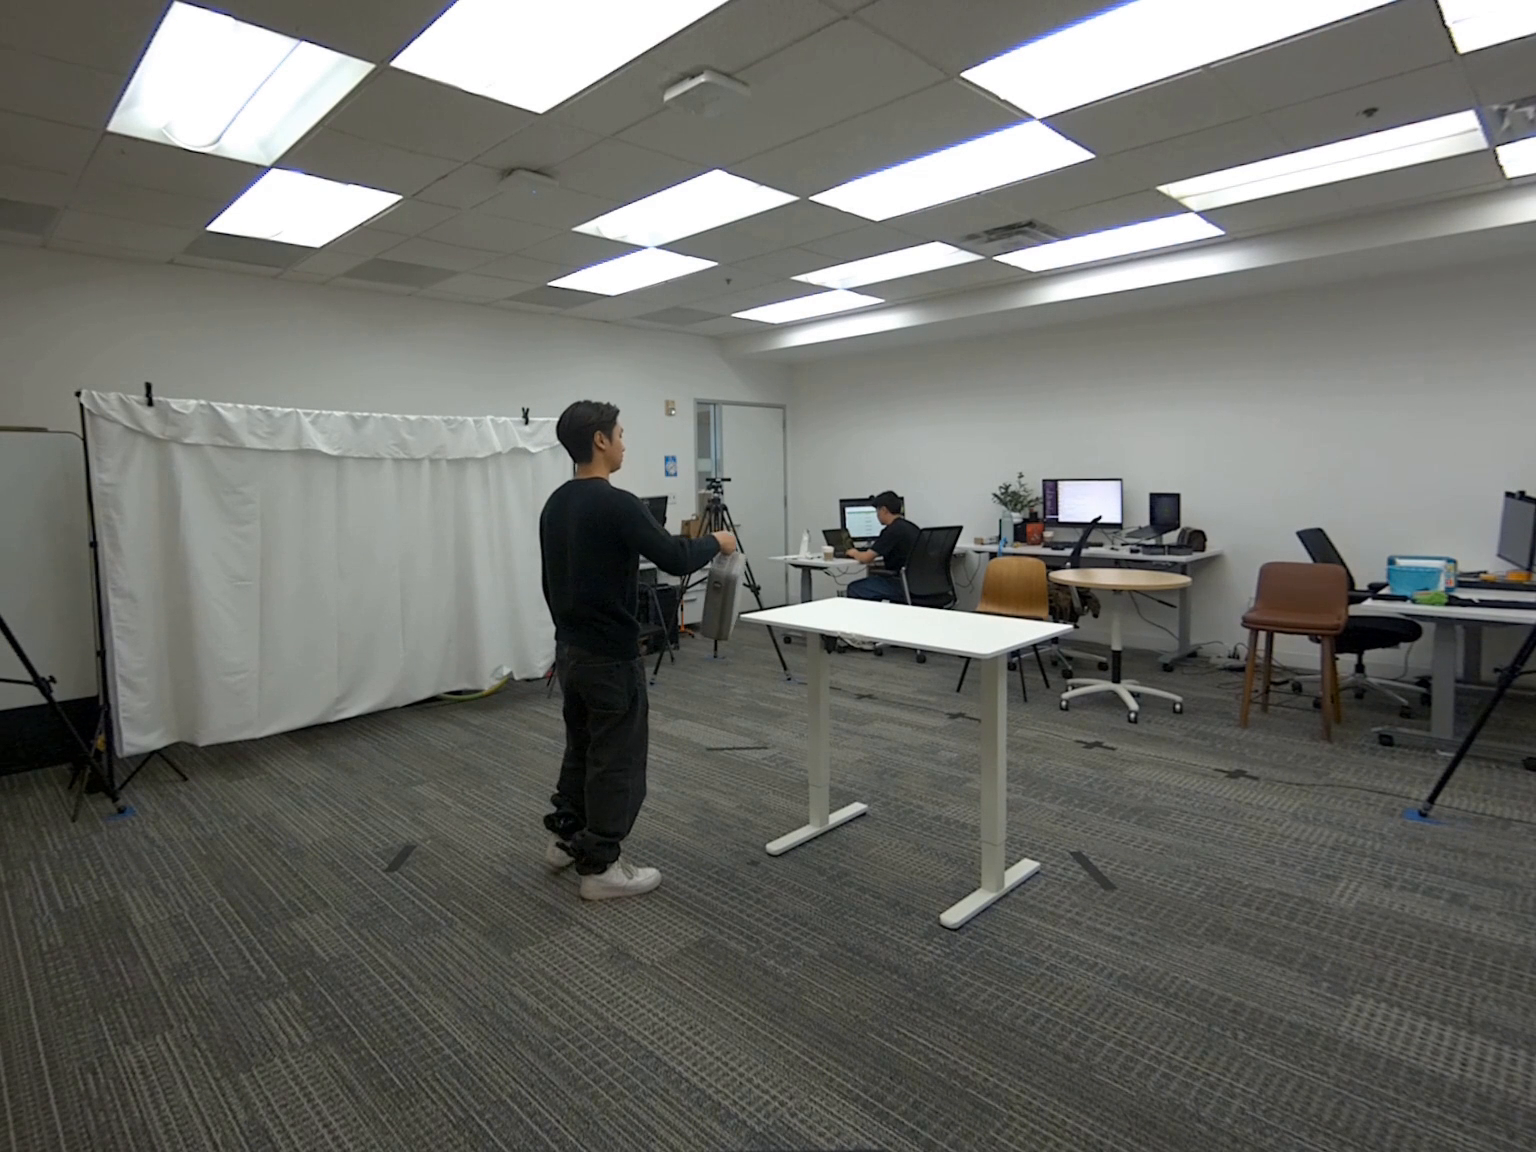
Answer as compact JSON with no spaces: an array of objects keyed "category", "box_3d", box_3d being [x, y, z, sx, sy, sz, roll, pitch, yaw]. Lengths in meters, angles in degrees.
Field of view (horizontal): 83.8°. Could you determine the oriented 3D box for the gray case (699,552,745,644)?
[{"category":"gray case","box_3d":[-0.152,0.056,2.910,0.104,0.258,0.259,8,13,1]}]
